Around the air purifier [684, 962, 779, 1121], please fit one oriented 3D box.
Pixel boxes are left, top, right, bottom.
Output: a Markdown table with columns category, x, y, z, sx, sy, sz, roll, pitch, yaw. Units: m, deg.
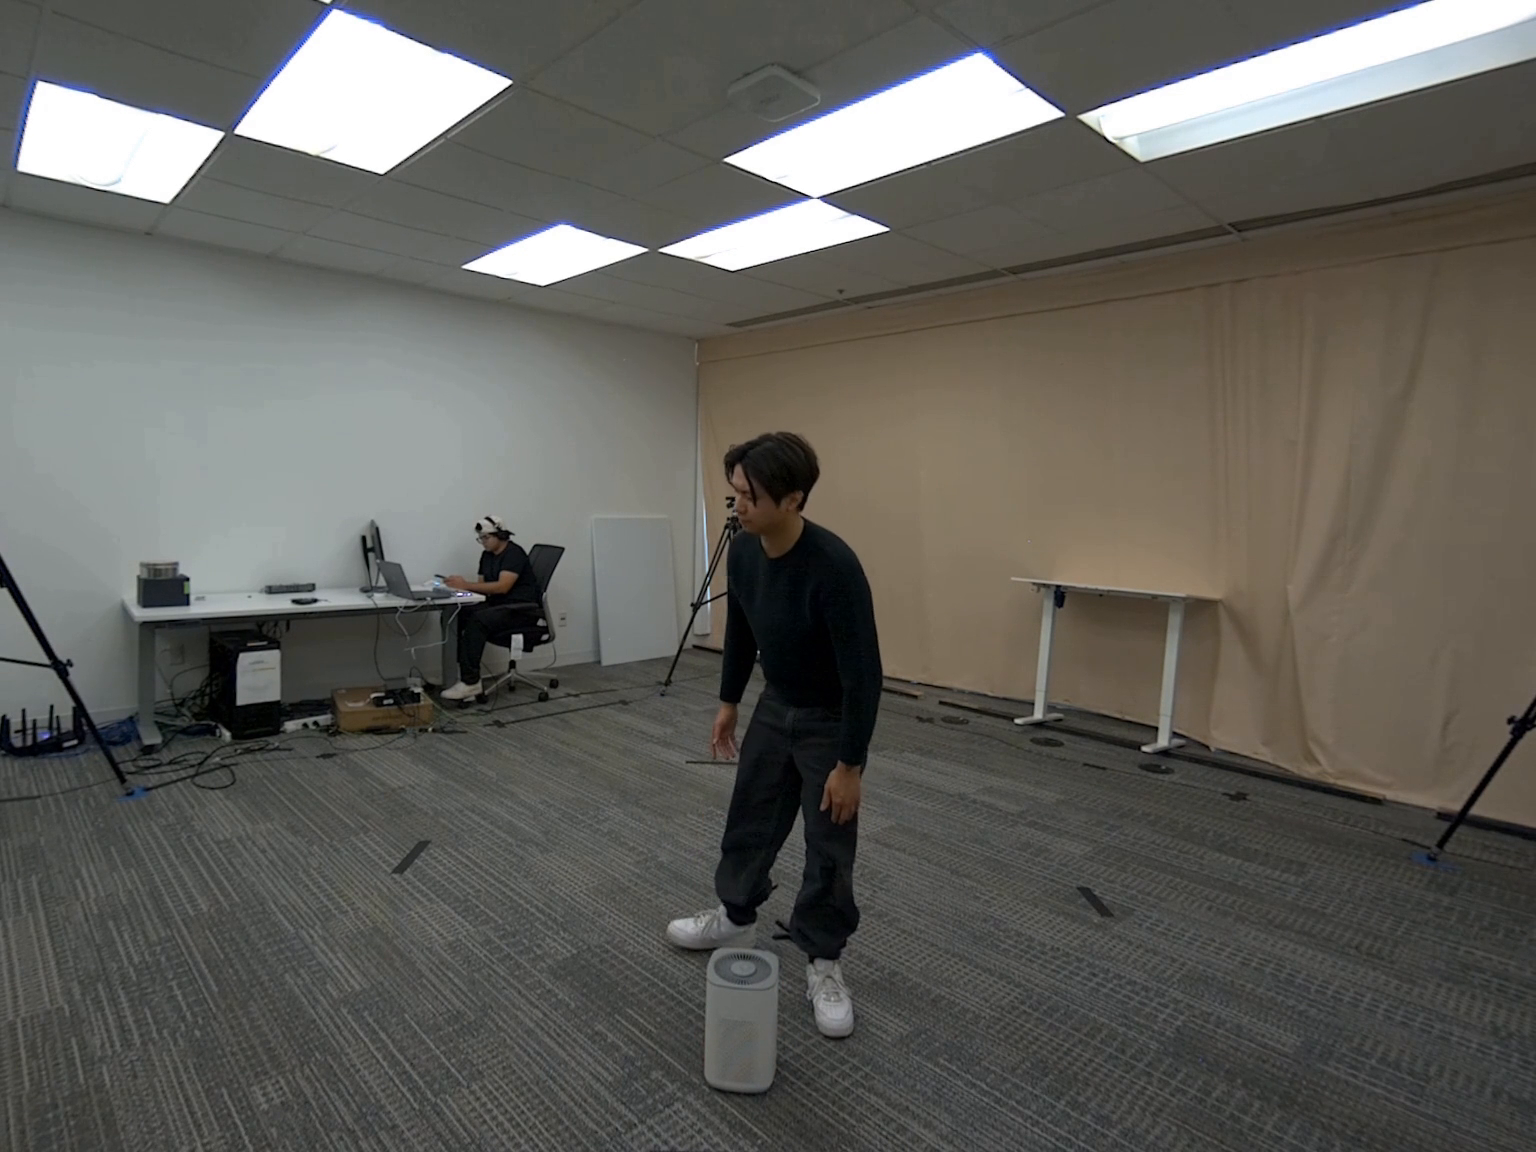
| category | x | y | z | sx | sy | sz | roll | pitch | yaw |
| --- | --- | --- | --- | --- | --- | --- | --- | --- | --- |
| air purifier | -0.082 | 1.095 | 2.005 | 0.172 | 0.265 | 0.171 | -7 | 4 | 6 |
